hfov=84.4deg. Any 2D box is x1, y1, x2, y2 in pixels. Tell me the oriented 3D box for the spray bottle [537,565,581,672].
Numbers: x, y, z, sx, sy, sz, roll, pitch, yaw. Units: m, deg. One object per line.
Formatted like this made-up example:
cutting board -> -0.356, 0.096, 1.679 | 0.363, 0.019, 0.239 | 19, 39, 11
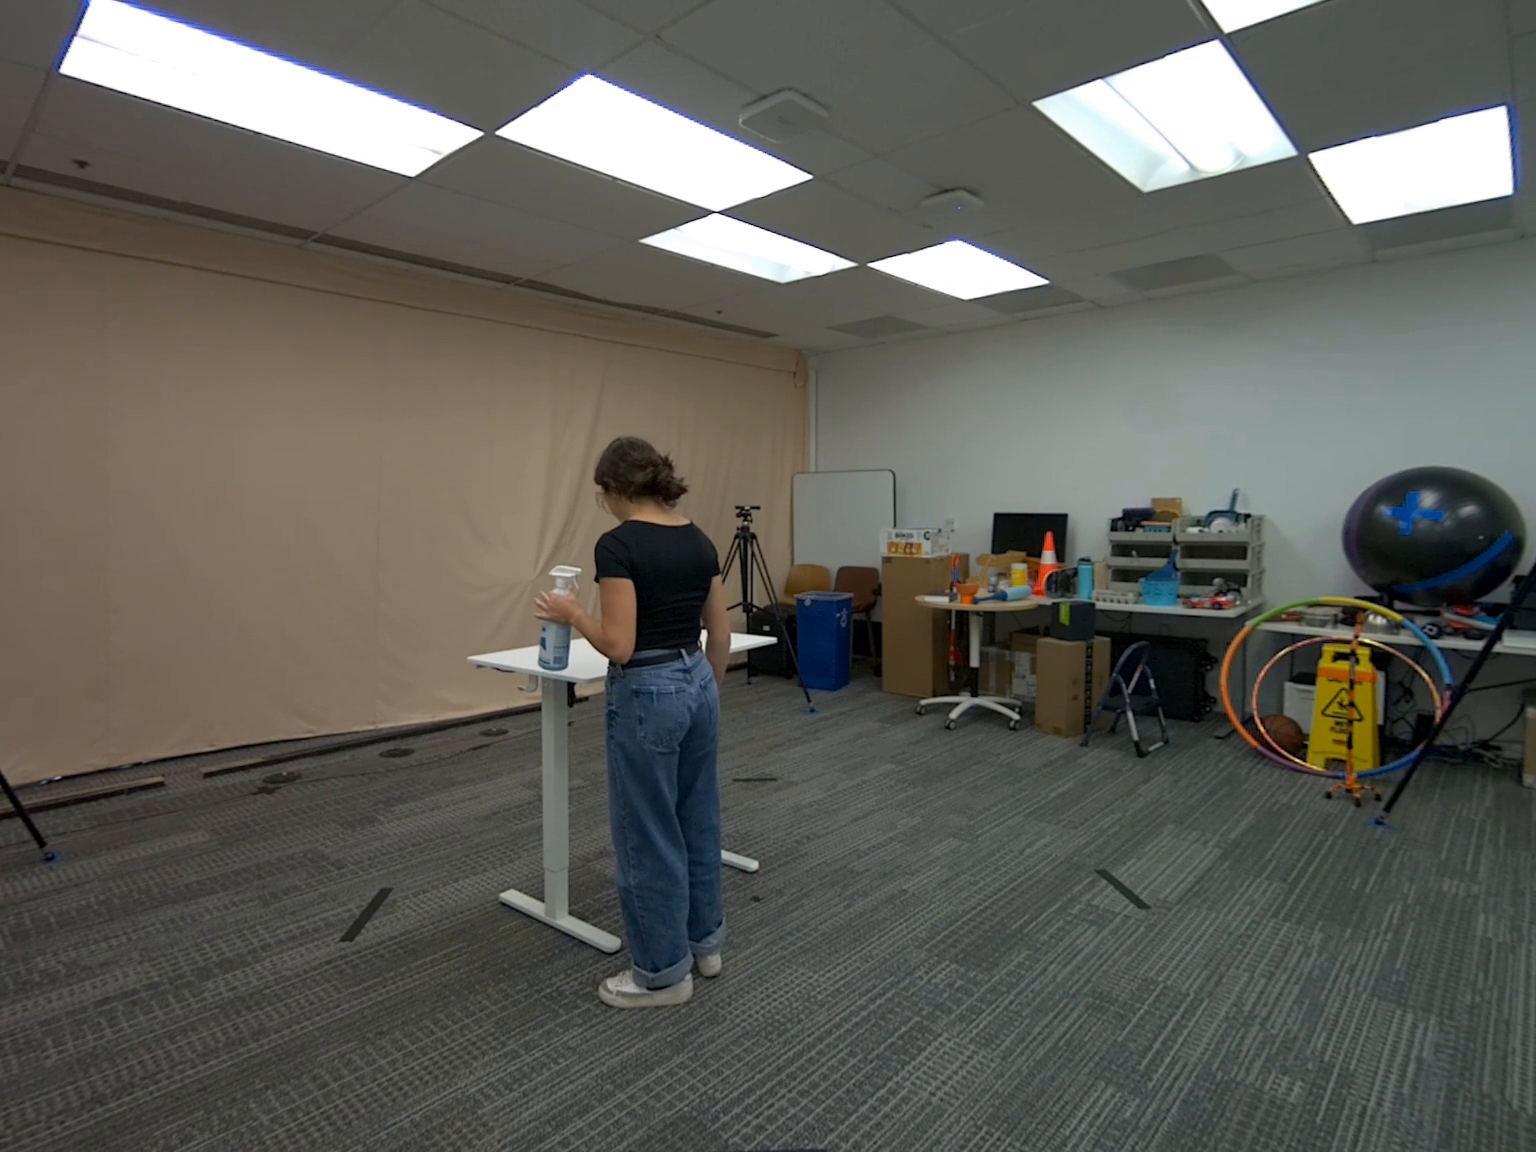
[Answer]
spray bottle -> -0.582, 0.117, 2.357 | 0.093, 0.296, 0.085 | 17, 12, 29
